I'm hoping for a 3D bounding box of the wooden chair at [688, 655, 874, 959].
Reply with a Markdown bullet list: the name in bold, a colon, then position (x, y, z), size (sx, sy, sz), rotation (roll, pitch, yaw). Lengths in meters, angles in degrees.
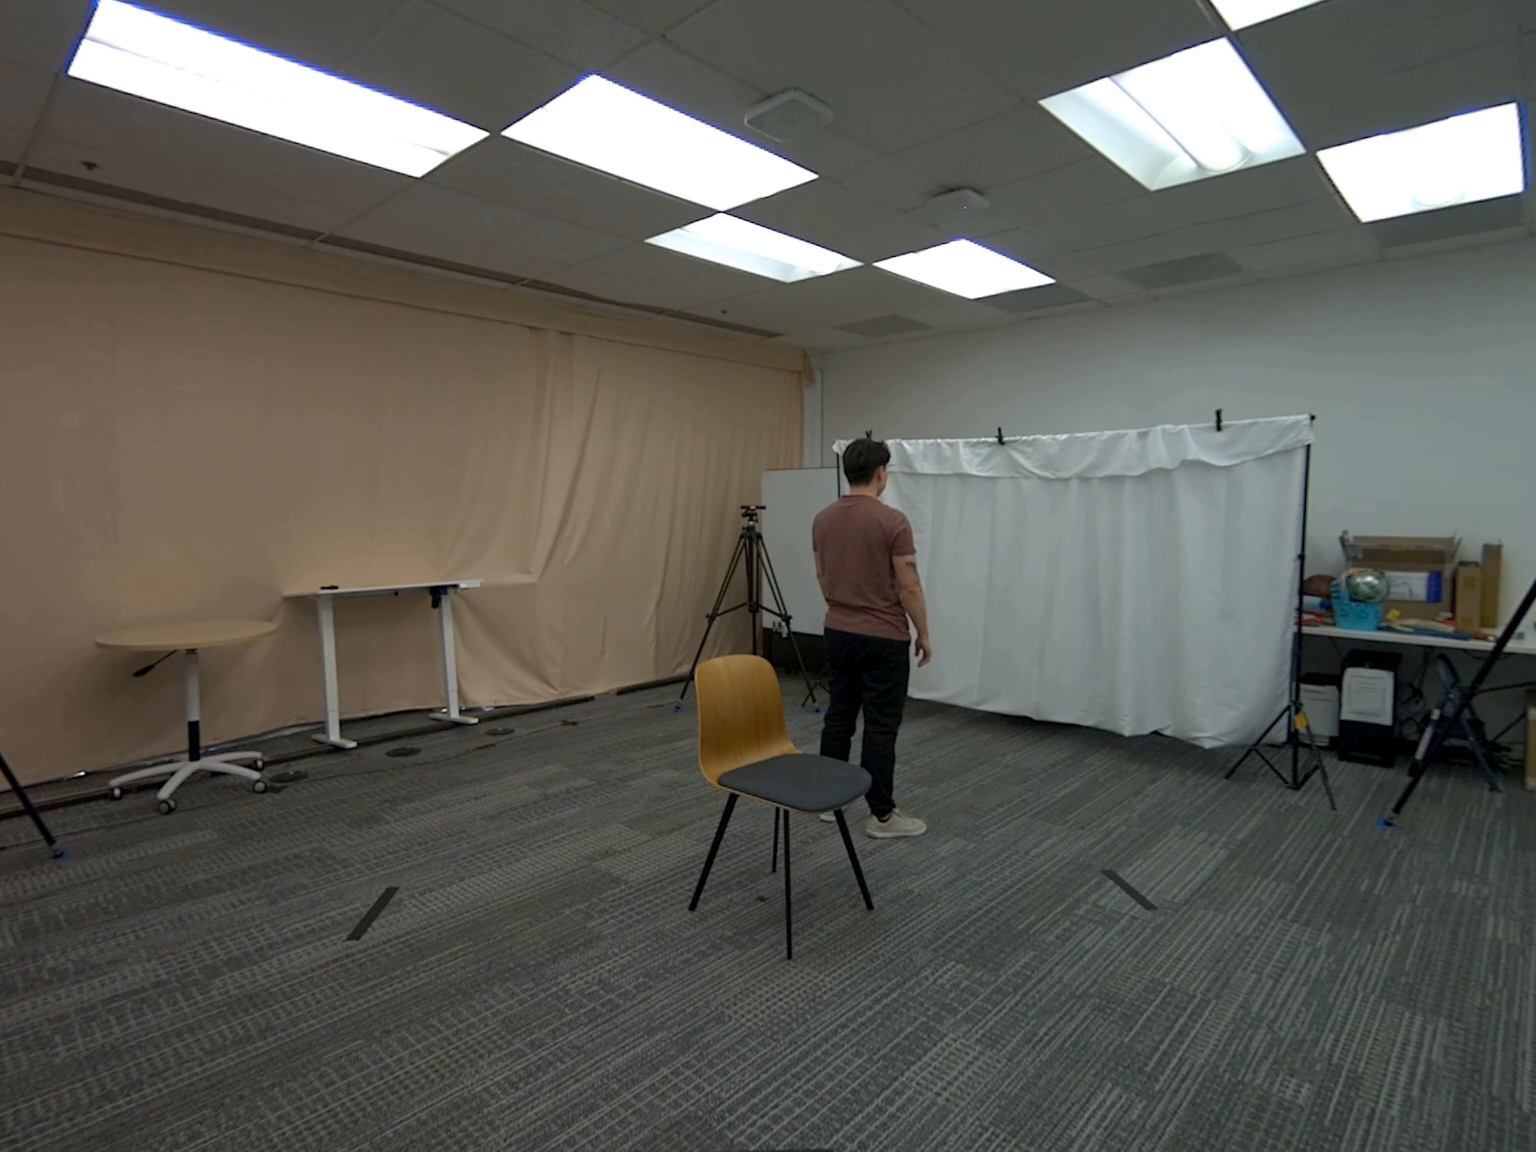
- **wooden chair**: position (0.052, 0.727, 2.861), size (0.539, 0.877, 0.463), rotation (-3, 0, 43)
